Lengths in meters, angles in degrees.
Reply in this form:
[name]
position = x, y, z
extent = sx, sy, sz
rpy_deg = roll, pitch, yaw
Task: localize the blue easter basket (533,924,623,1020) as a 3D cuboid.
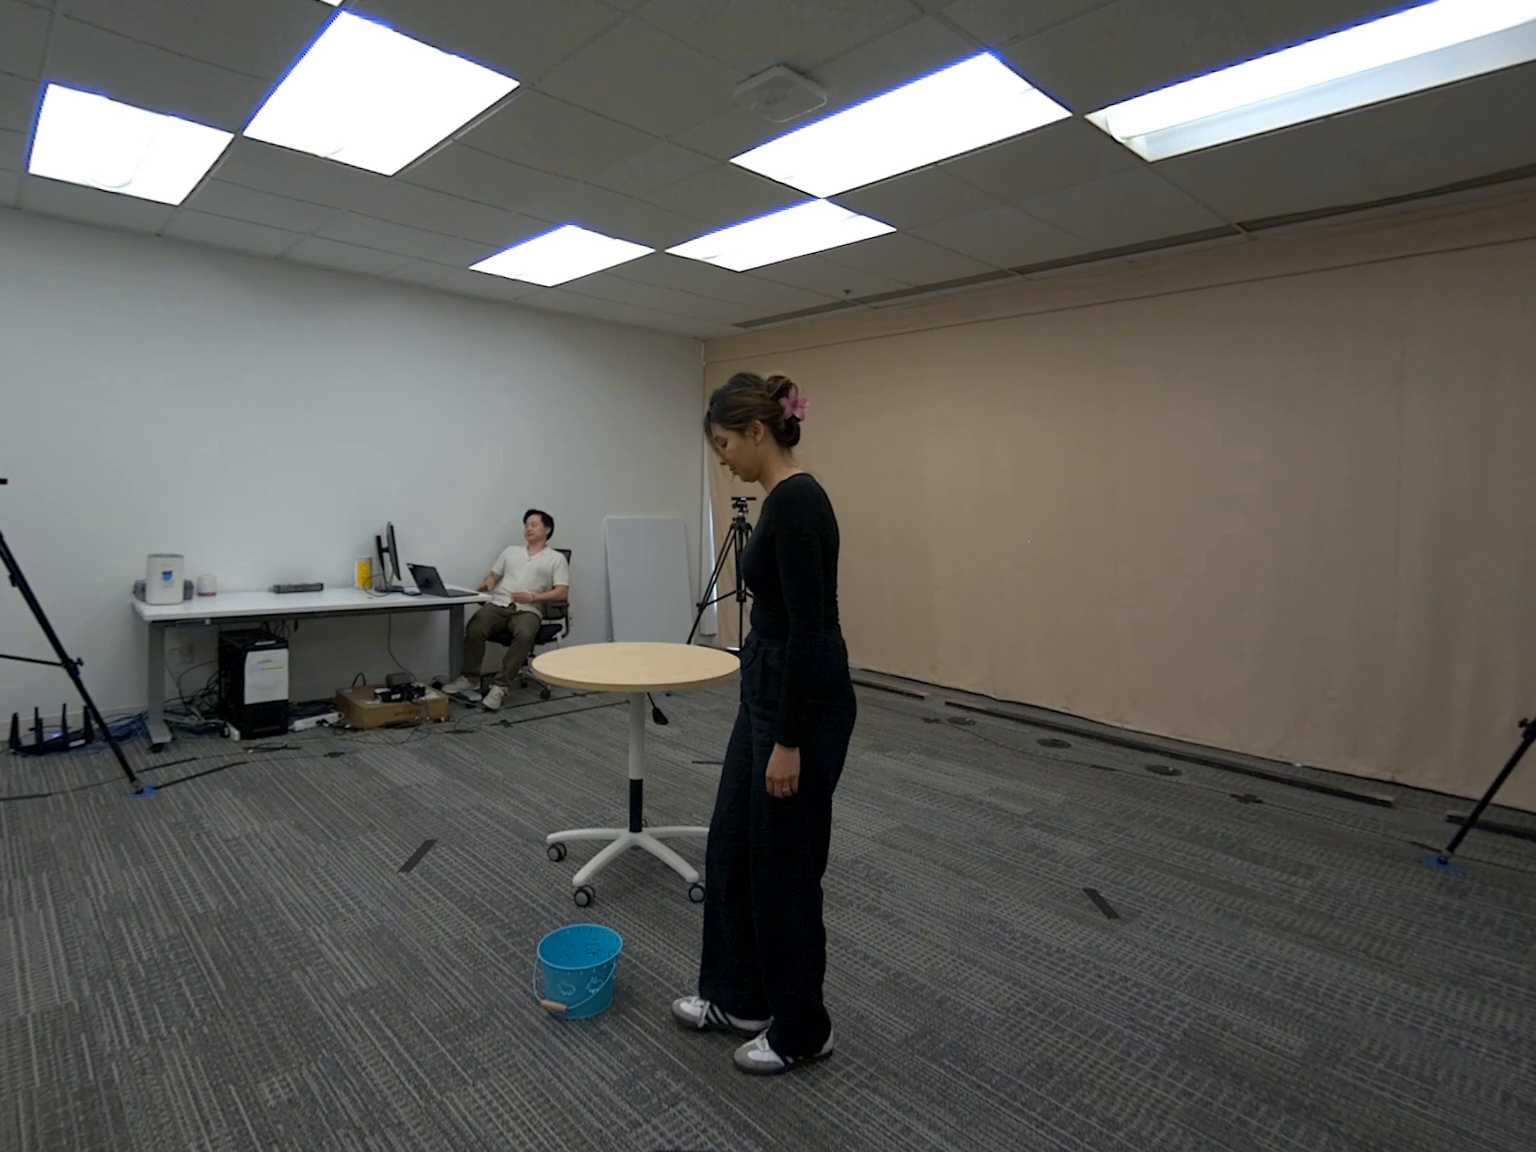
[blue easter basket]
position = -0.529, 1.095, 2.316
extent = 0.243, 0.155, 0.244
rpy_deg = 1, 5, -1
